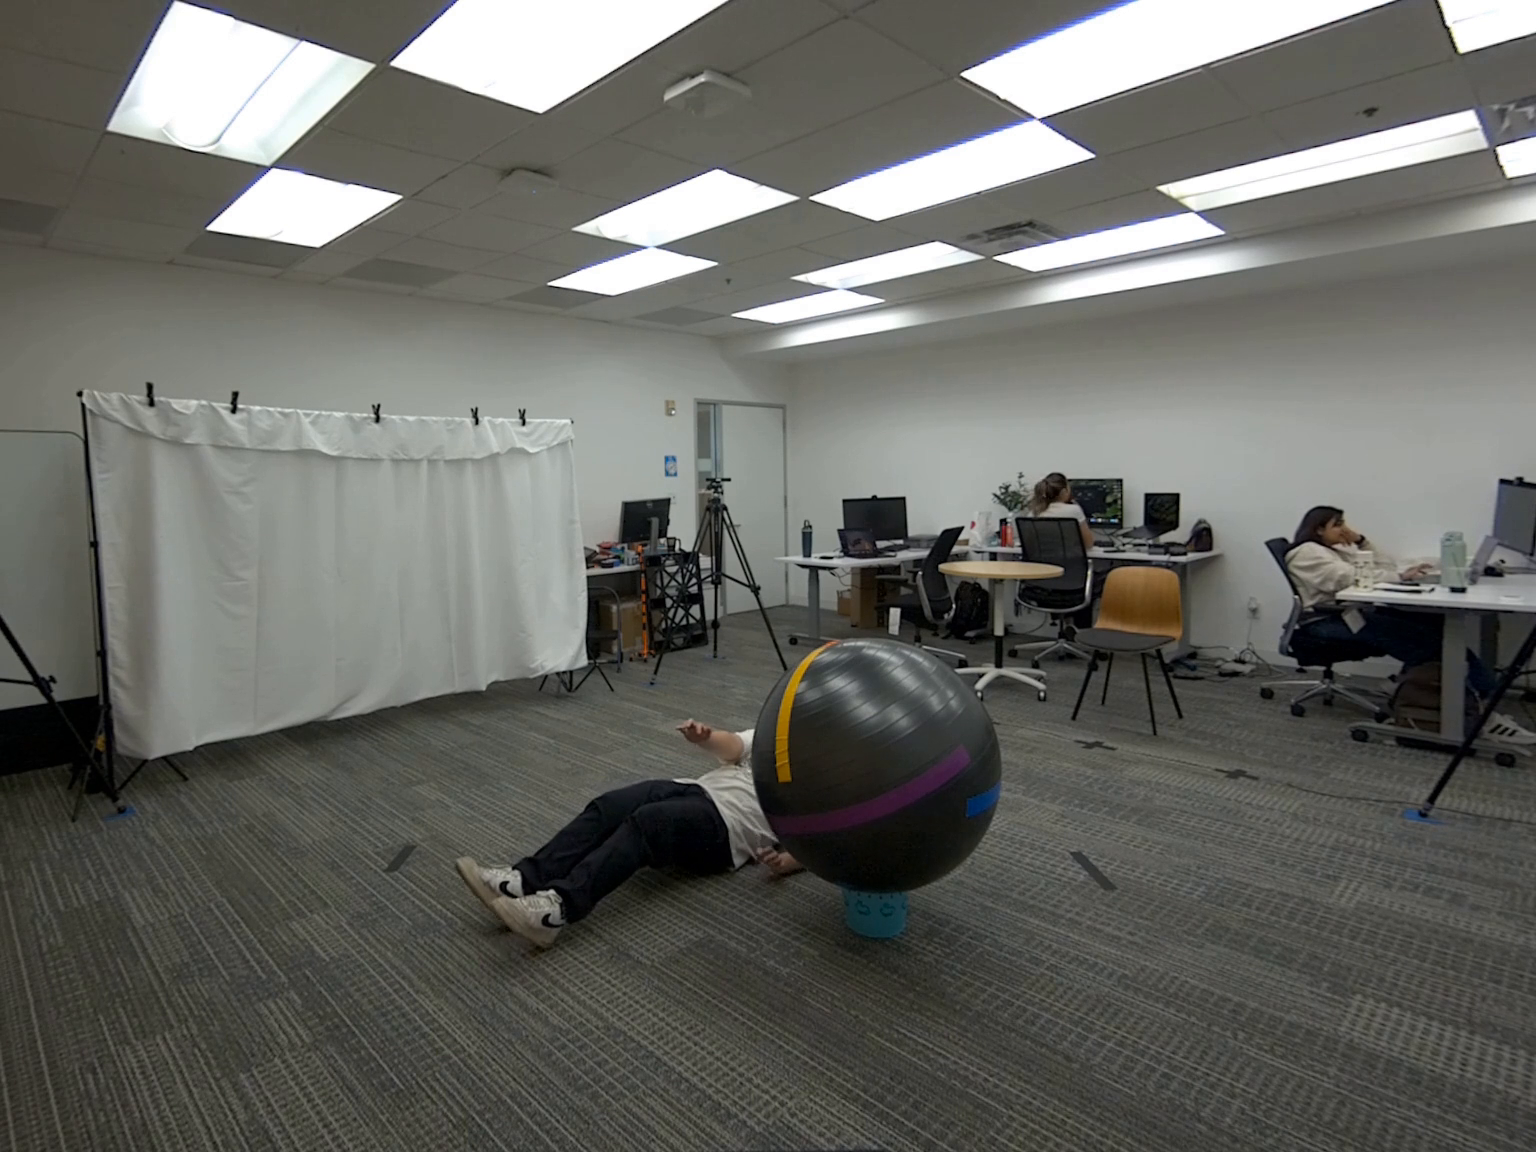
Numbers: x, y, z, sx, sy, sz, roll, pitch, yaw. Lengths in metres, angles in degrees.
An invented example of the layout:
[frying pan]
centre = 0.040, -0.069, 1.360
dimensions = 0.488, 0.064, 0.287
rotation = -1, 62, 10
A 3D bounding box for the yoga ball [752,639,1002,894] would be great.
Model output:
[yoga ball]
centre = 0.330, 0.578, 2.635
dimensions = 0.757, 0.755, 0.762
rotation = -1, 5, -2
